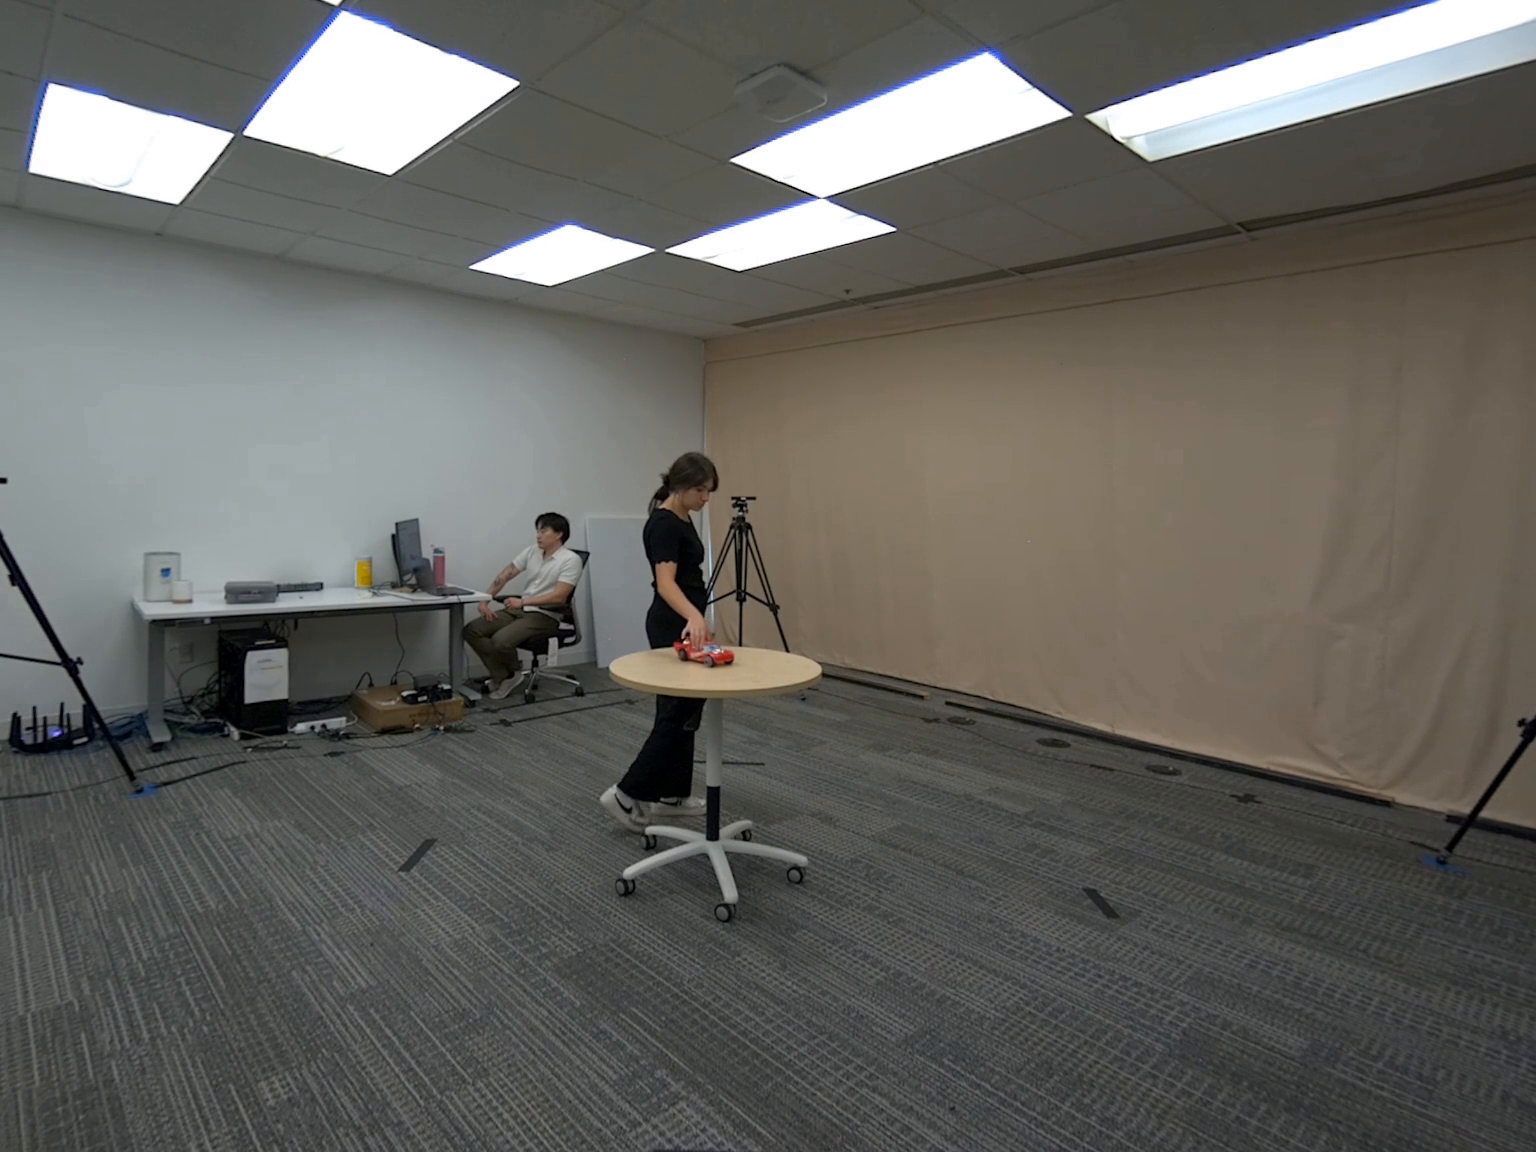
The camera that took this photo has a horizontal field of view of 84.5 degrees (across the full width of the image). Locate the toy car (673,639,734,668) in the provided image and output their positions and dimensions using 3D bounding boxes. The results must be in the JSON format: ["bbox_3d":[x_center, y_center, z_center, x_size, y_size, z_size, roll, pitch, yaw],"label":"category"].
[{"bbox_3d":[-0.250,0.288,3.117,0.127,0.082,0.262,-5,18,-44],"label":"toy car"}]
